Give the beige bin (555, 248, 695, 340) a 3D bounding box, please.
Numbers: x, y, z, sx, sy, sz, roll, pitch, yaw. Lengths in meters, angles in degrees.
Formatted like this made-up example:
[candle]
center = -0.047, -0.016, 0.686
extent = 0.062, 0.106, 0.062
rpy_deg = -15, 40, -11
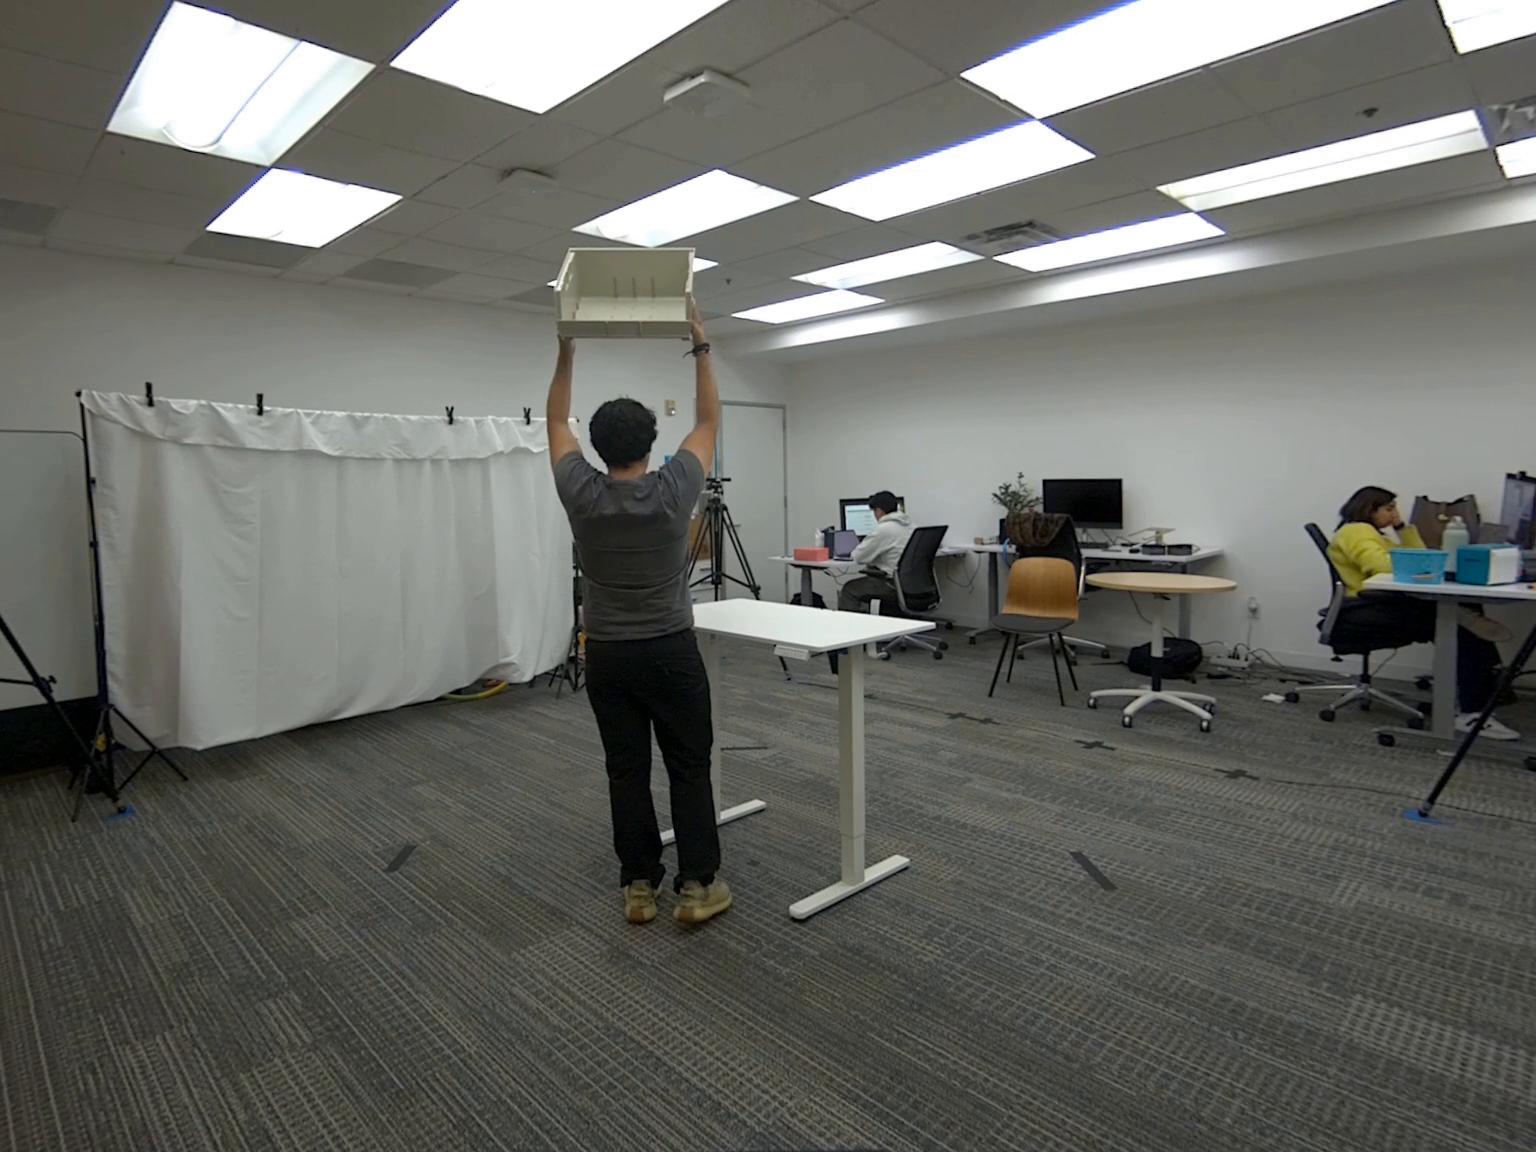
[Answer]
[beige bin]
center = -0.444, -0.903, 2.766
extent = 0.422, 0.184, 0.387
rpy_deg = 0, 40, -1
